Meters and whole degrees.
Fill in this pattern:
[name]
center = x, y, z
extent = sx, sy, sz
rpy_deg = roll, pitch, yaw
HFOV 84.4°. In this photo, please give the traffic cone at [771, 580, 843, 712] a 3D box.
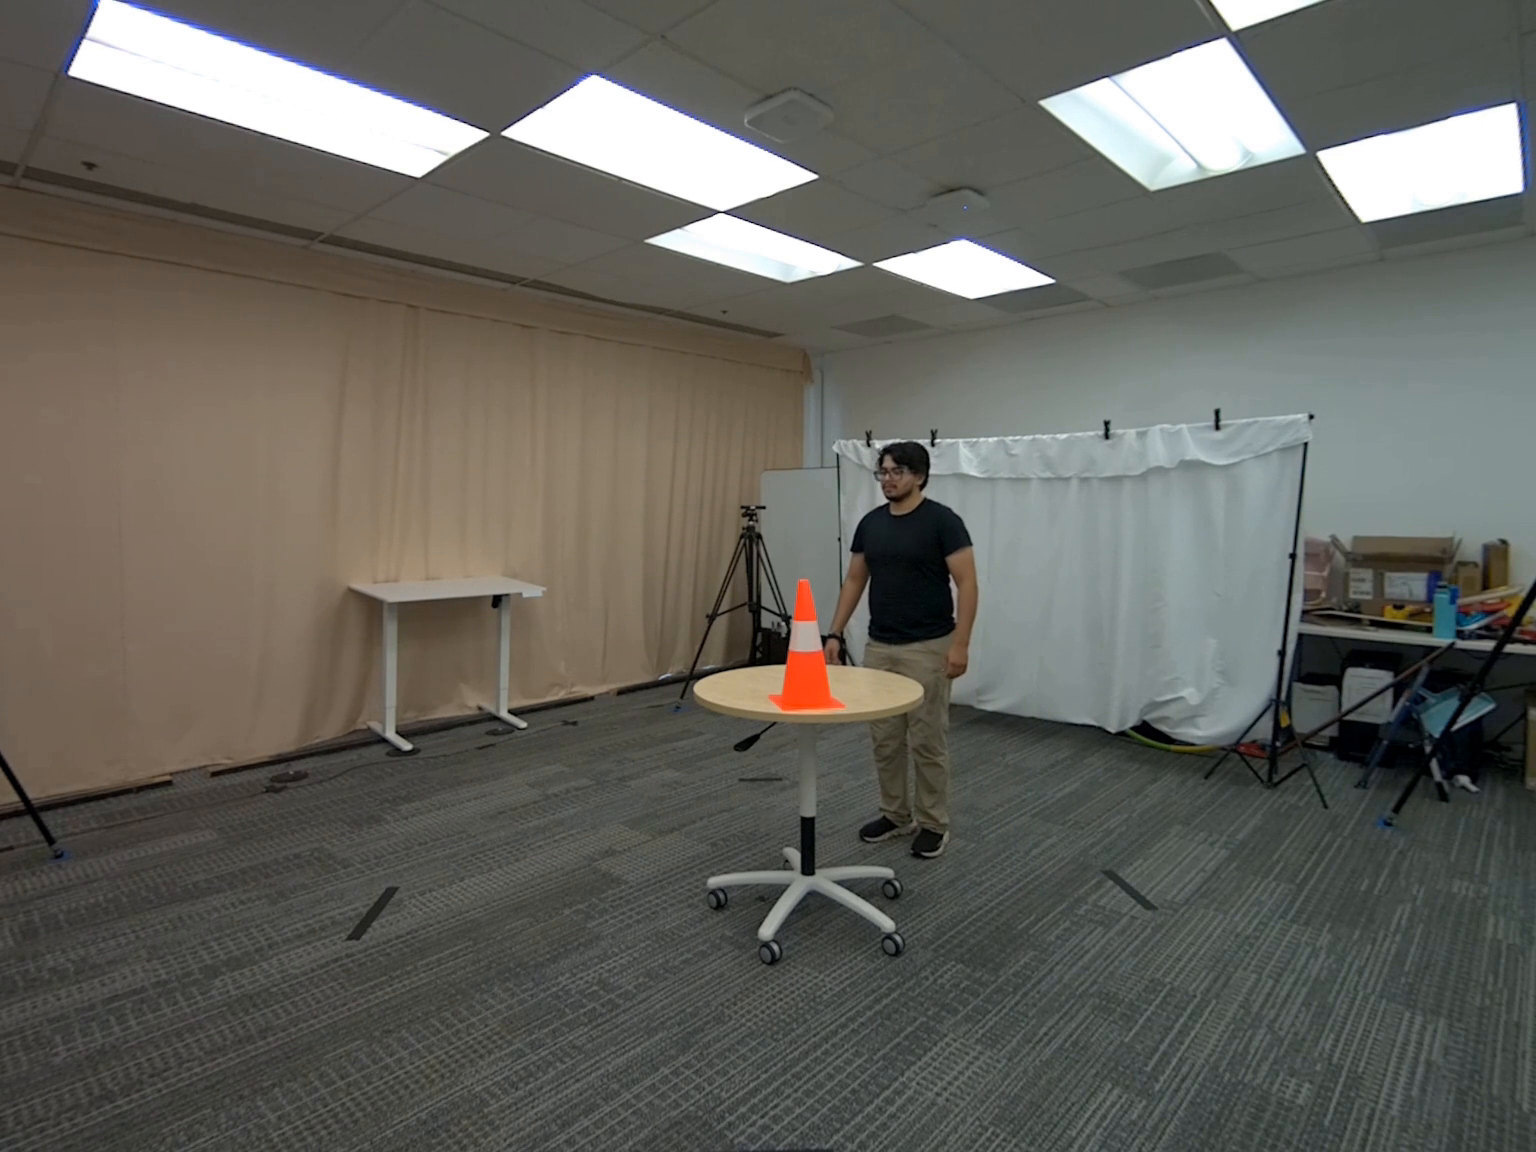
[traffic cone]
center = 0.122, 0.207, 2.597
extent = 0.198, 0.383, 0.210
rpy_deg = 0, 2, -25
